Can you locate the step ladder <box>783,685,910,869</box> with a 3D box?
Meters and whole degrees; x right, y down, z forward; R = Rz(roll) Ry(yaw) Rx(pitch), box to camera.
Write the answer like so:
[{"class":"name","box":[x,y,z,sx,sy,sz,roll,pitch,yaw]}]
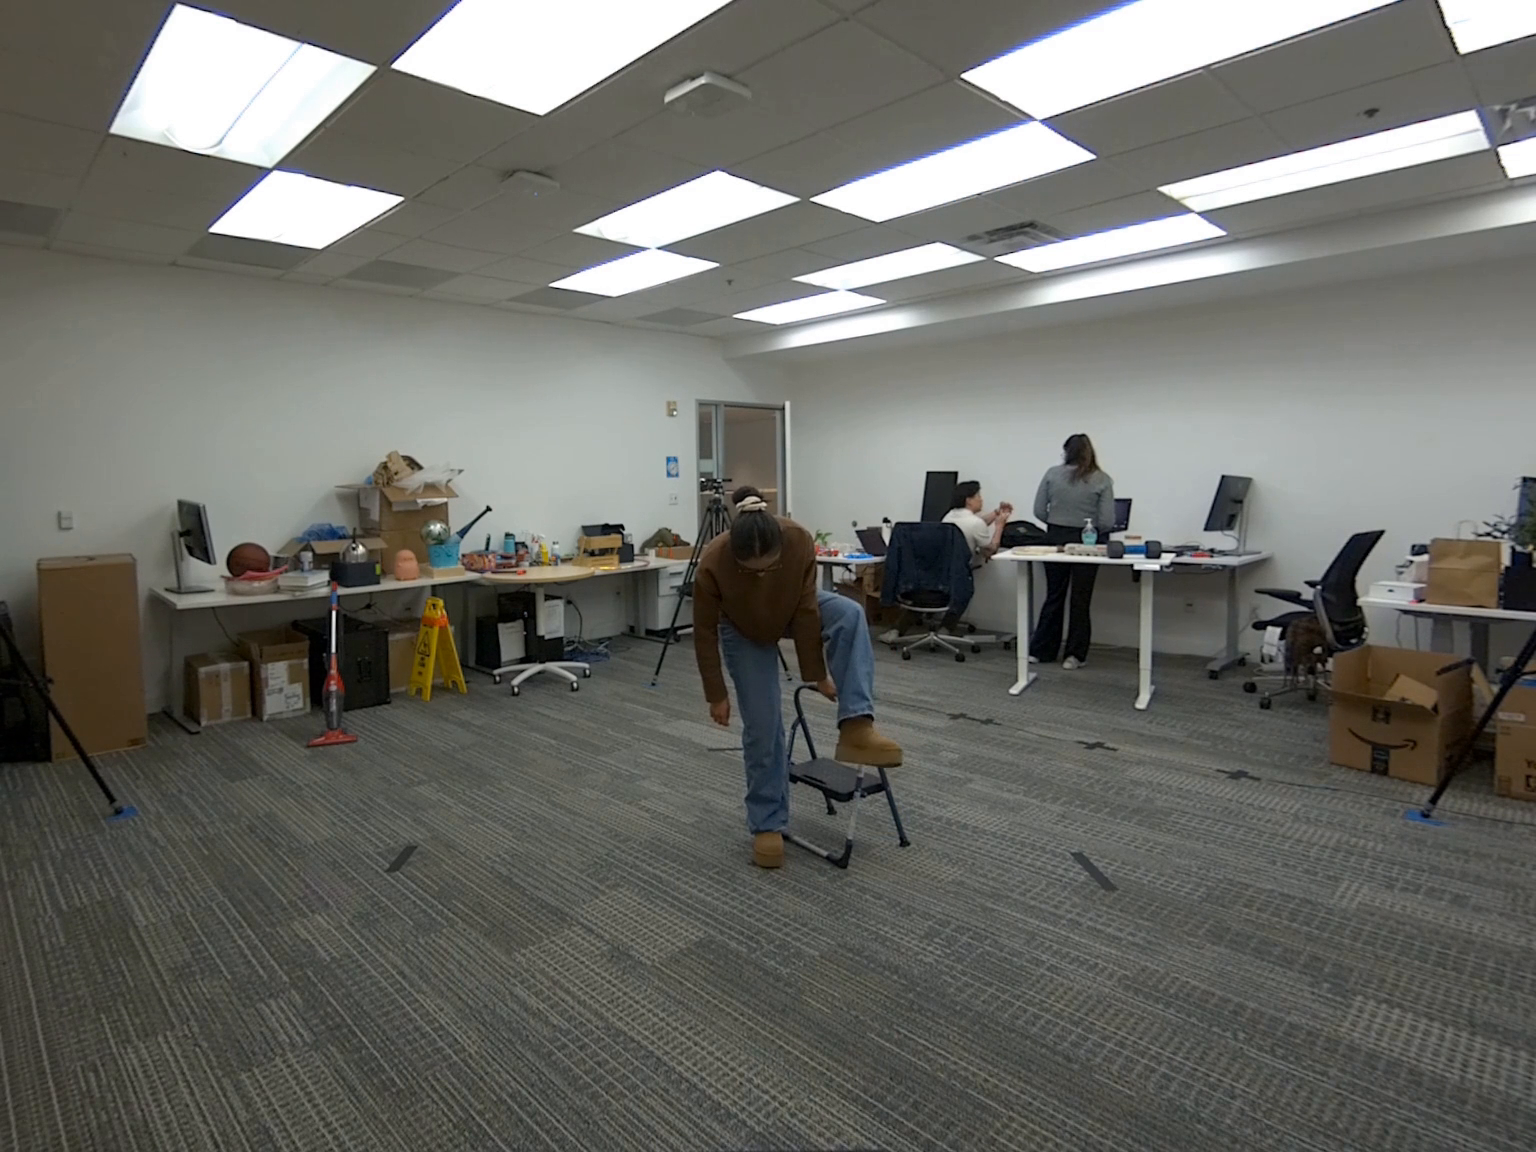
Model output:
[{"class":"step ladder","box":[0.269,0.714,3.290,0.340,0.603,0.444,-5,6,-38]}]
